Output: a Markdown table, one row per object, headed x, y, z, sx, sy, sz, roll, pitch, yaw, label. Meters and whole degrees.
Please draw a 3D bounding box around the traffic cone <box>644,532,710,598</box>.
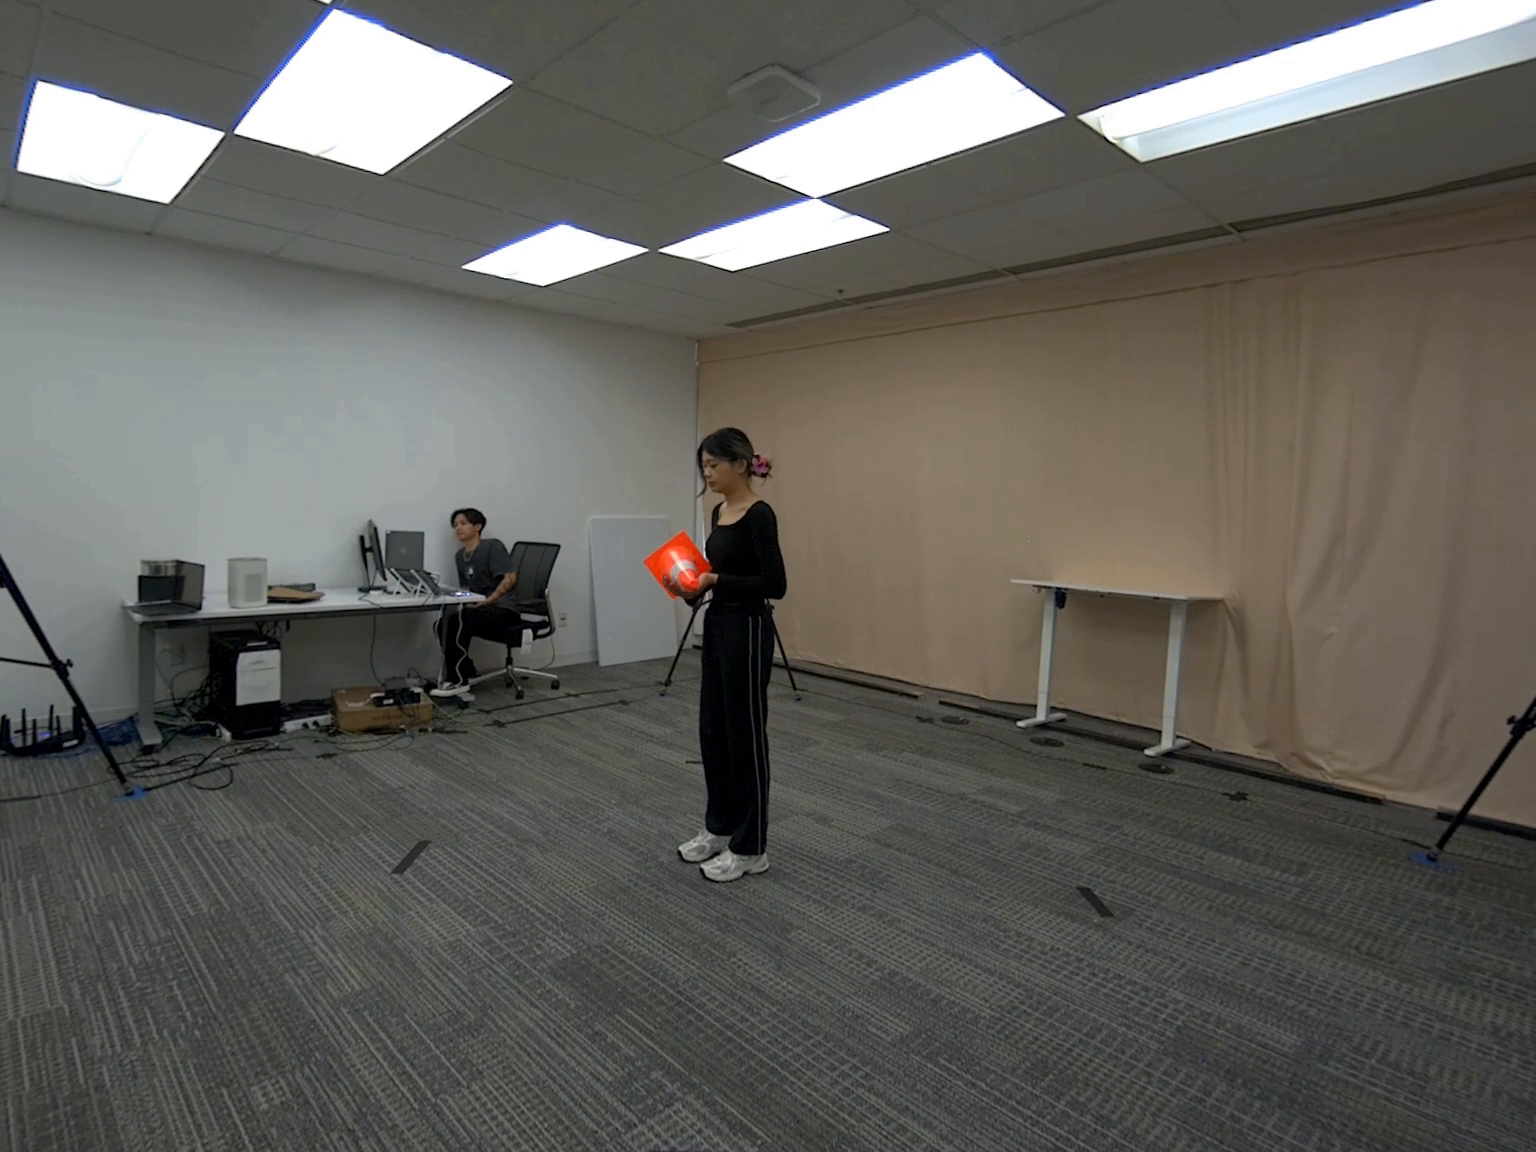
| x | y | z | sx | sy | sz | roll | pitch | yaw | label |
| --- | --- | --- | --- | --- | --- | --- | --- | --- | --- |
| -0.315 | -0.014 | 3.061 | 0.205 | 0.201 | 0.389 | -36 | 13 | -5 | traffic cone |
